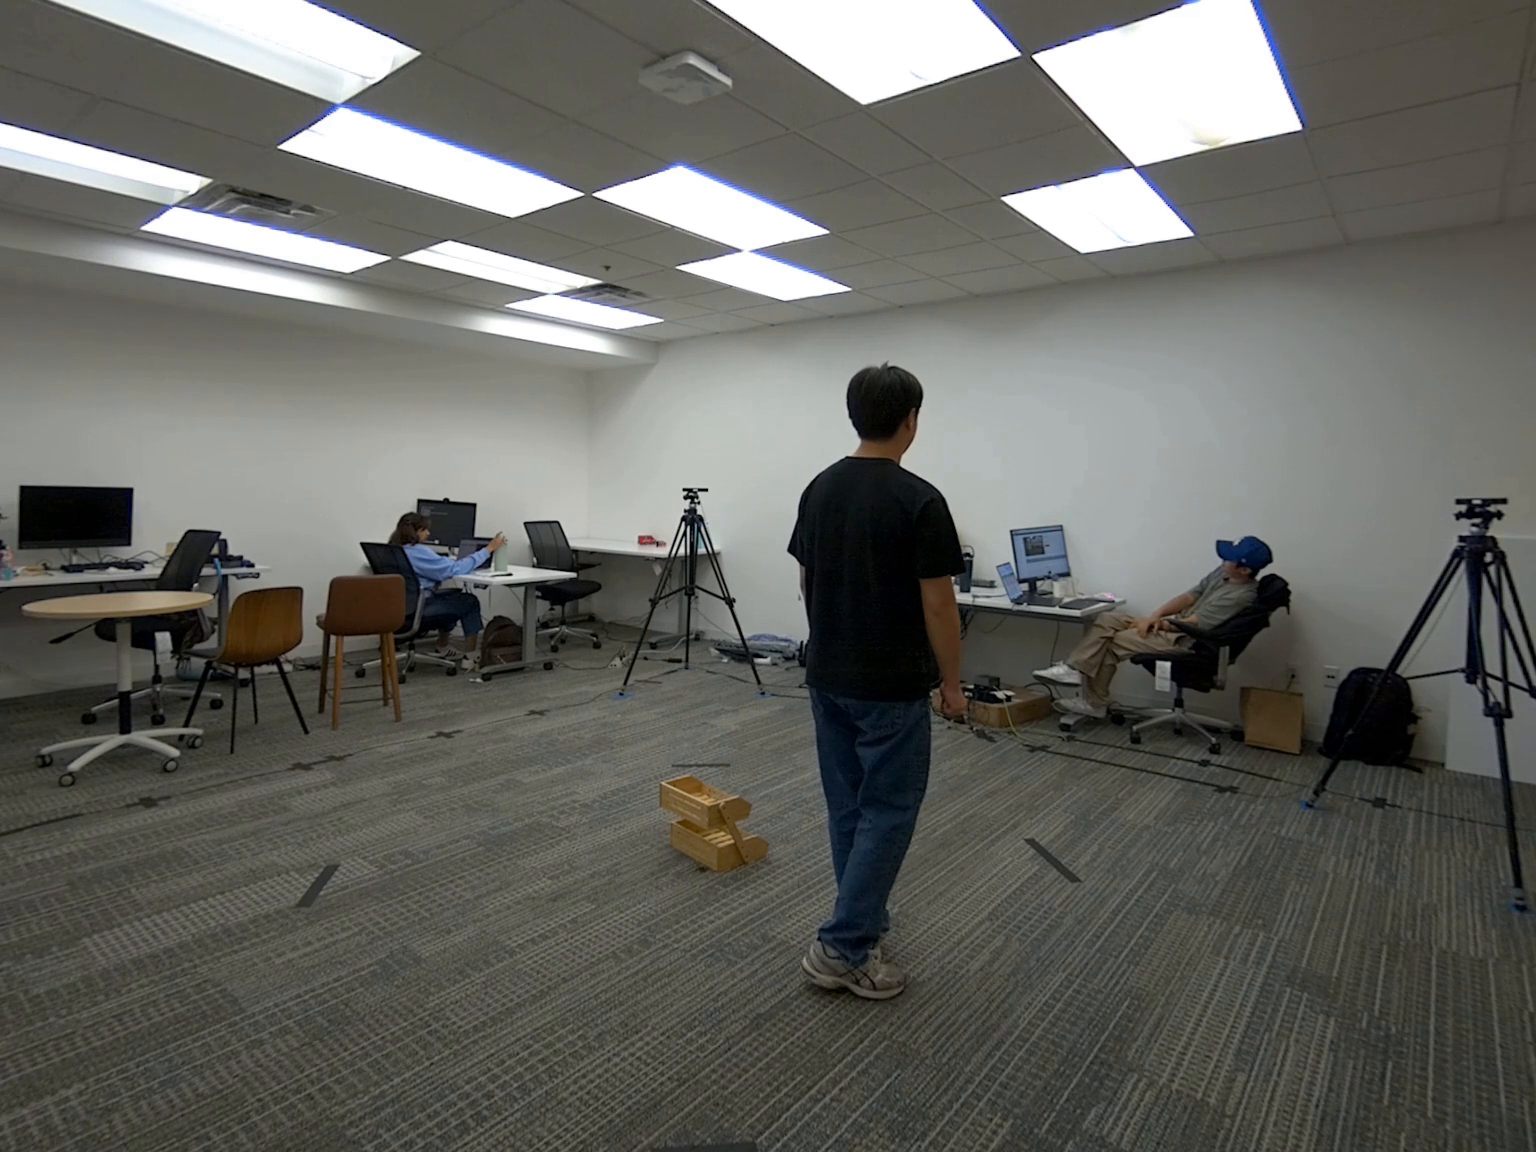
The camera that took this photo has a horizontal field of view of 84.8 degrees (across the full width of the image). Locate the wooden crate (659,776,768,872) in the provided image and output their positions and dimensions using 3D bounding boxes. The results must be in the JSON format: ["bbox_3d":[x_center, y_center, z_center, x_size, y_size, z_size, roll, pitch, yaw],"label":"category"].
[{"bbox_3d":[-0.214,0.920,3.256,0.293,0.272,0.335,-3,6,-41],"label":"wooden crate"}]
